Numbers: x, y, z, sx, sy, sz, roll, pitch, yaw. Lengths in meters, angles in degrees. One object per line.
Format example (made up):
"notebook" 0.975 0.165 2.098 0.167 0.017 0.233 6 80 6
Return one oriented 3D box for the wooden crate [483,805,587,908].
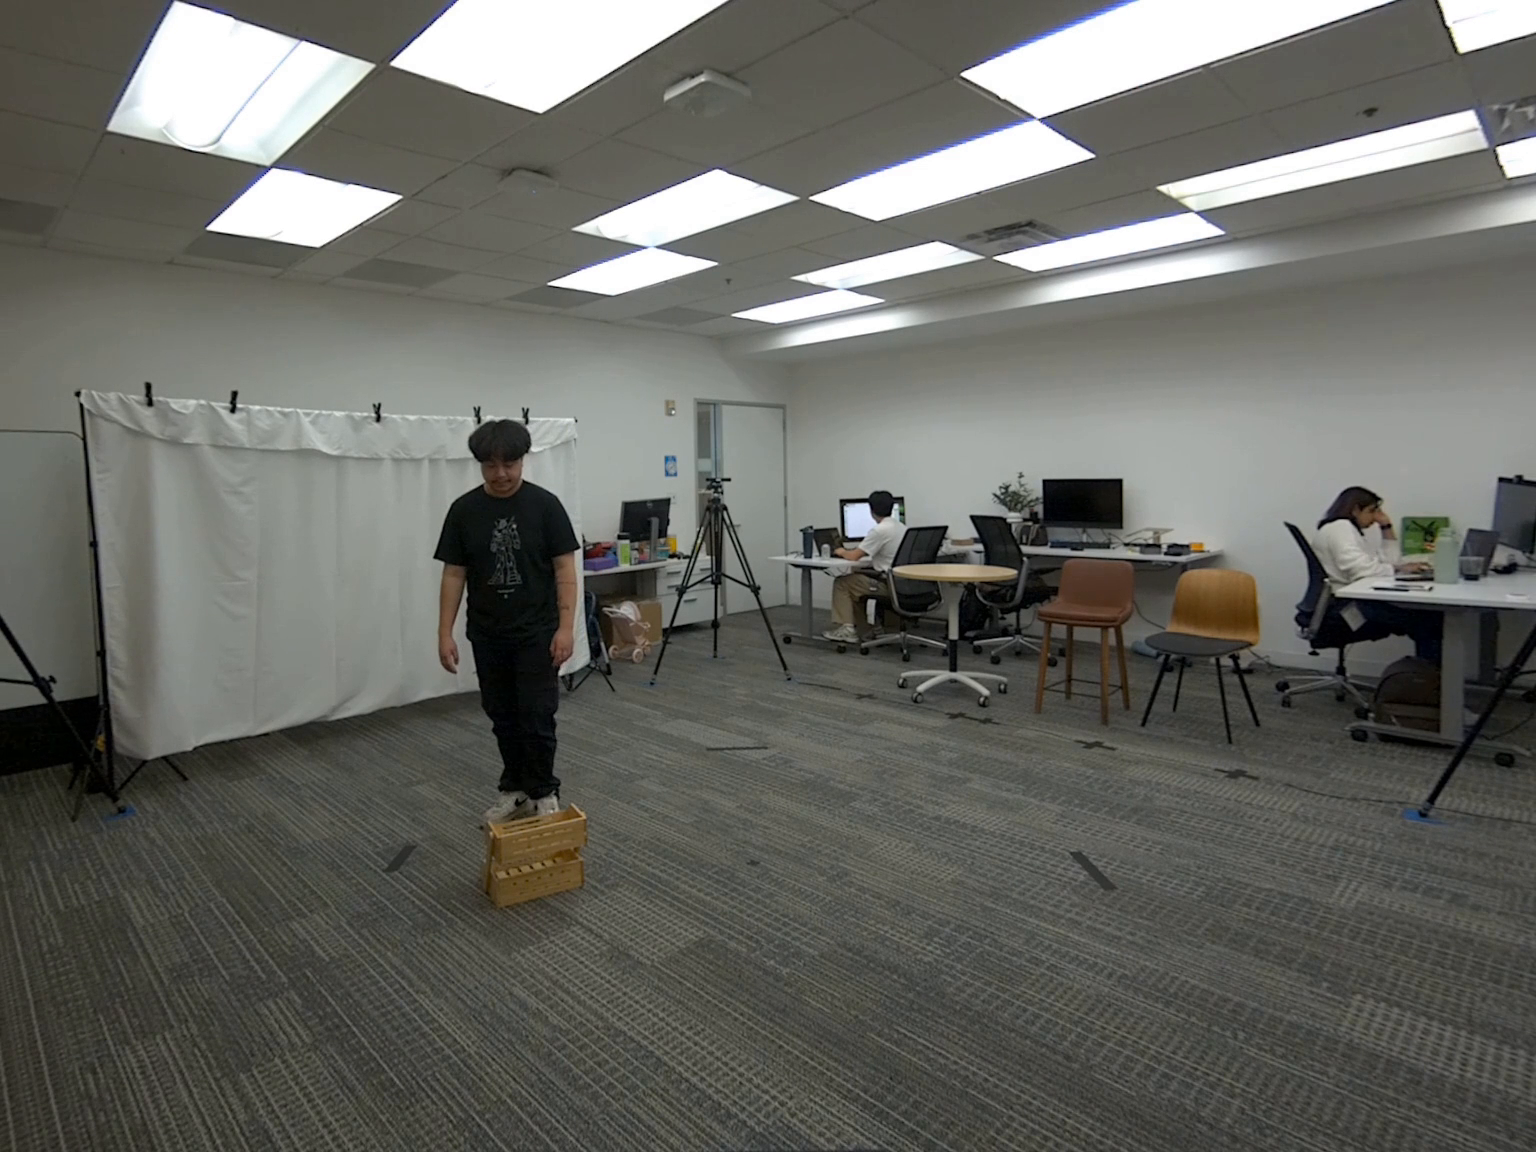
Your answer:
"wooden crate" -0.817 0.945 2.958 0.317 0.272 0.310 -5 7 -31
